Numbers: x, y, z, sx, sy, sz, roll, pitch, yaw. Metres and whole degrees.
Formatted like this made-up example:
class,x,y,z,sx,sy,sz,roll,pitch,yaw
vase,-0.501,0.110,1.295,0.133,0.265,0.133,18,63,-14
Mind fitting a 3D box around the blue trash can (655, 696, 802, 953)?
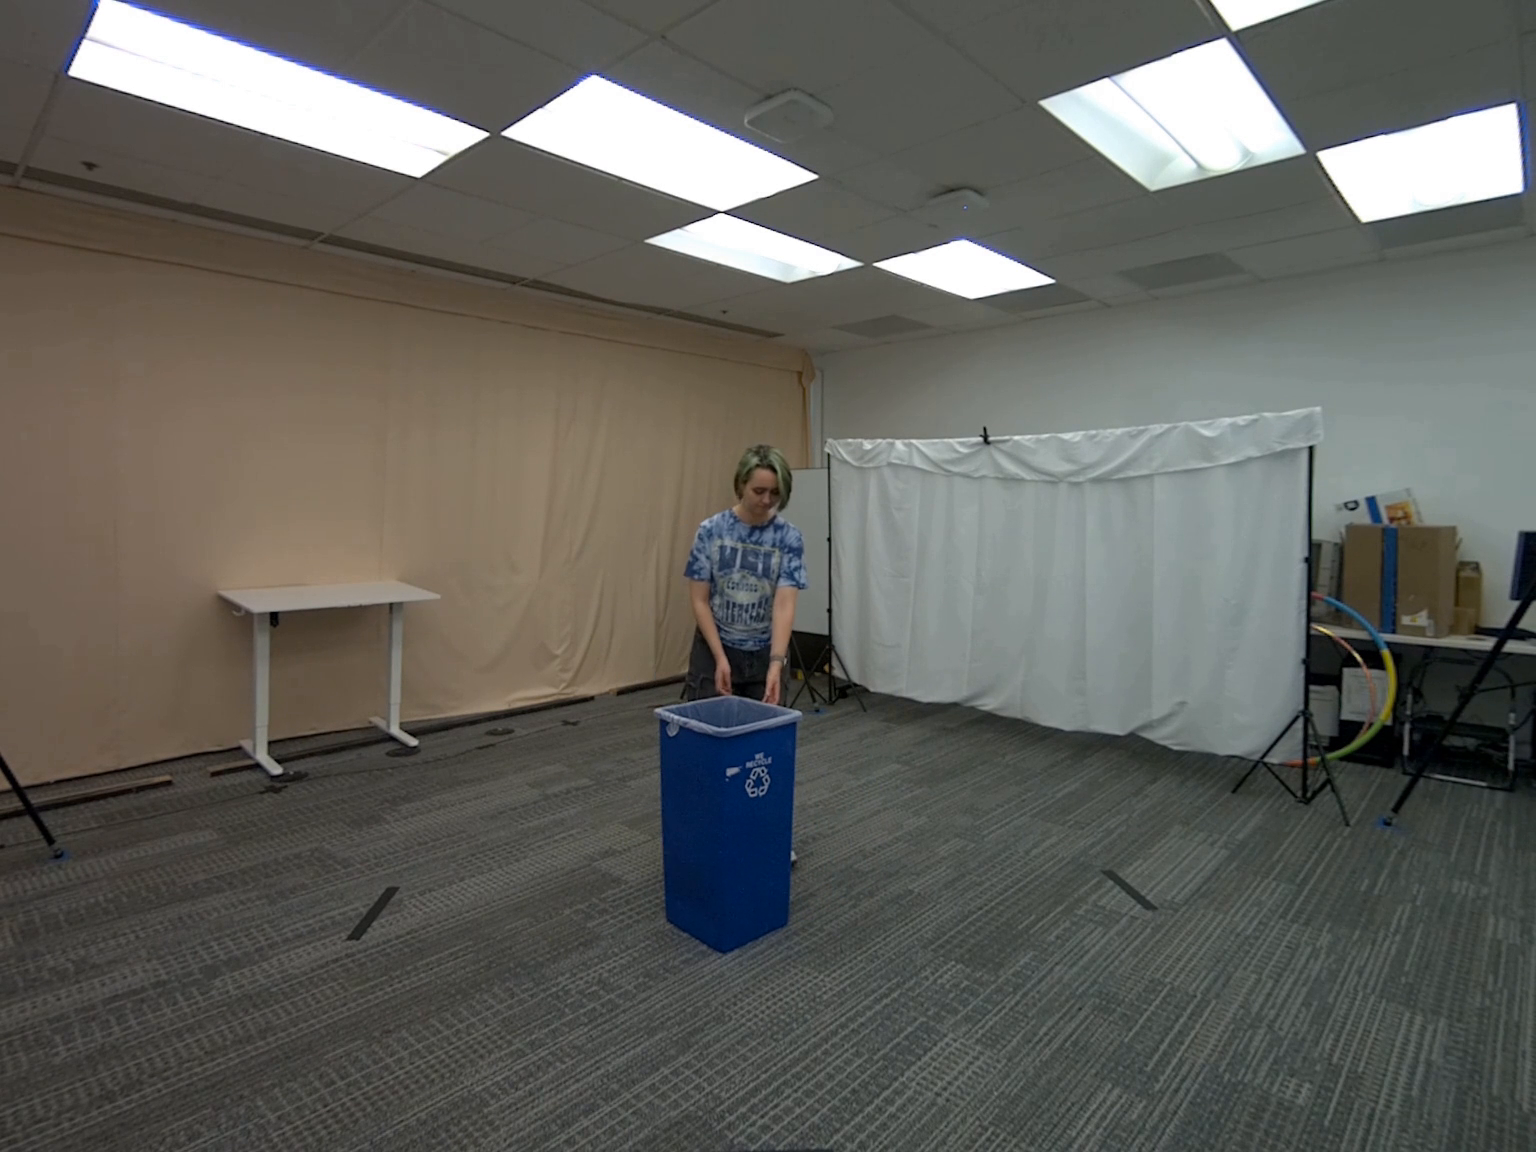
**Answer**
class,x,y,z,sx,sy,sz,roll,pitch,yaw
blue trash can,-0.131,0.797,2.809,0.362,0.712,0.391,-3,4,-43
